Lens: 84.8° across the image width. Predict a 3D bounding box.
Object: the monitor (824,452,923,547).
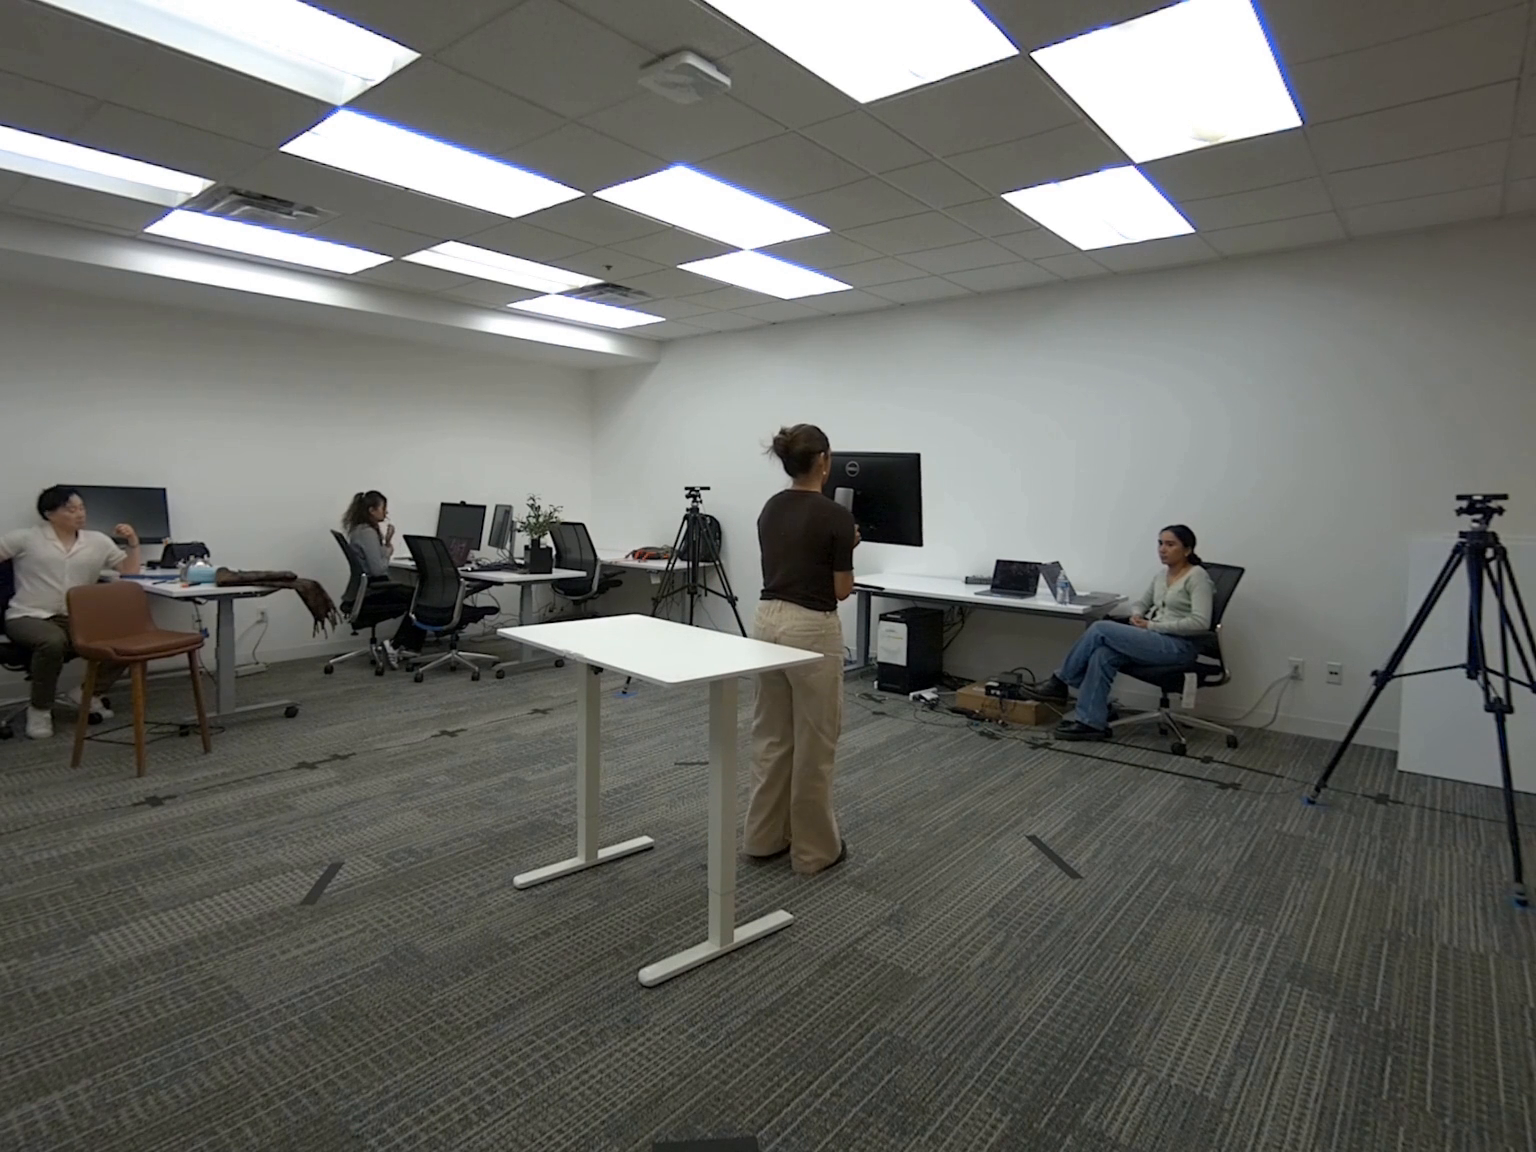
[{"bbox_3d":[0.310,-0.221,3.280,0.557,0.522,0.181,6,3,36],"label":"monitor"}]
